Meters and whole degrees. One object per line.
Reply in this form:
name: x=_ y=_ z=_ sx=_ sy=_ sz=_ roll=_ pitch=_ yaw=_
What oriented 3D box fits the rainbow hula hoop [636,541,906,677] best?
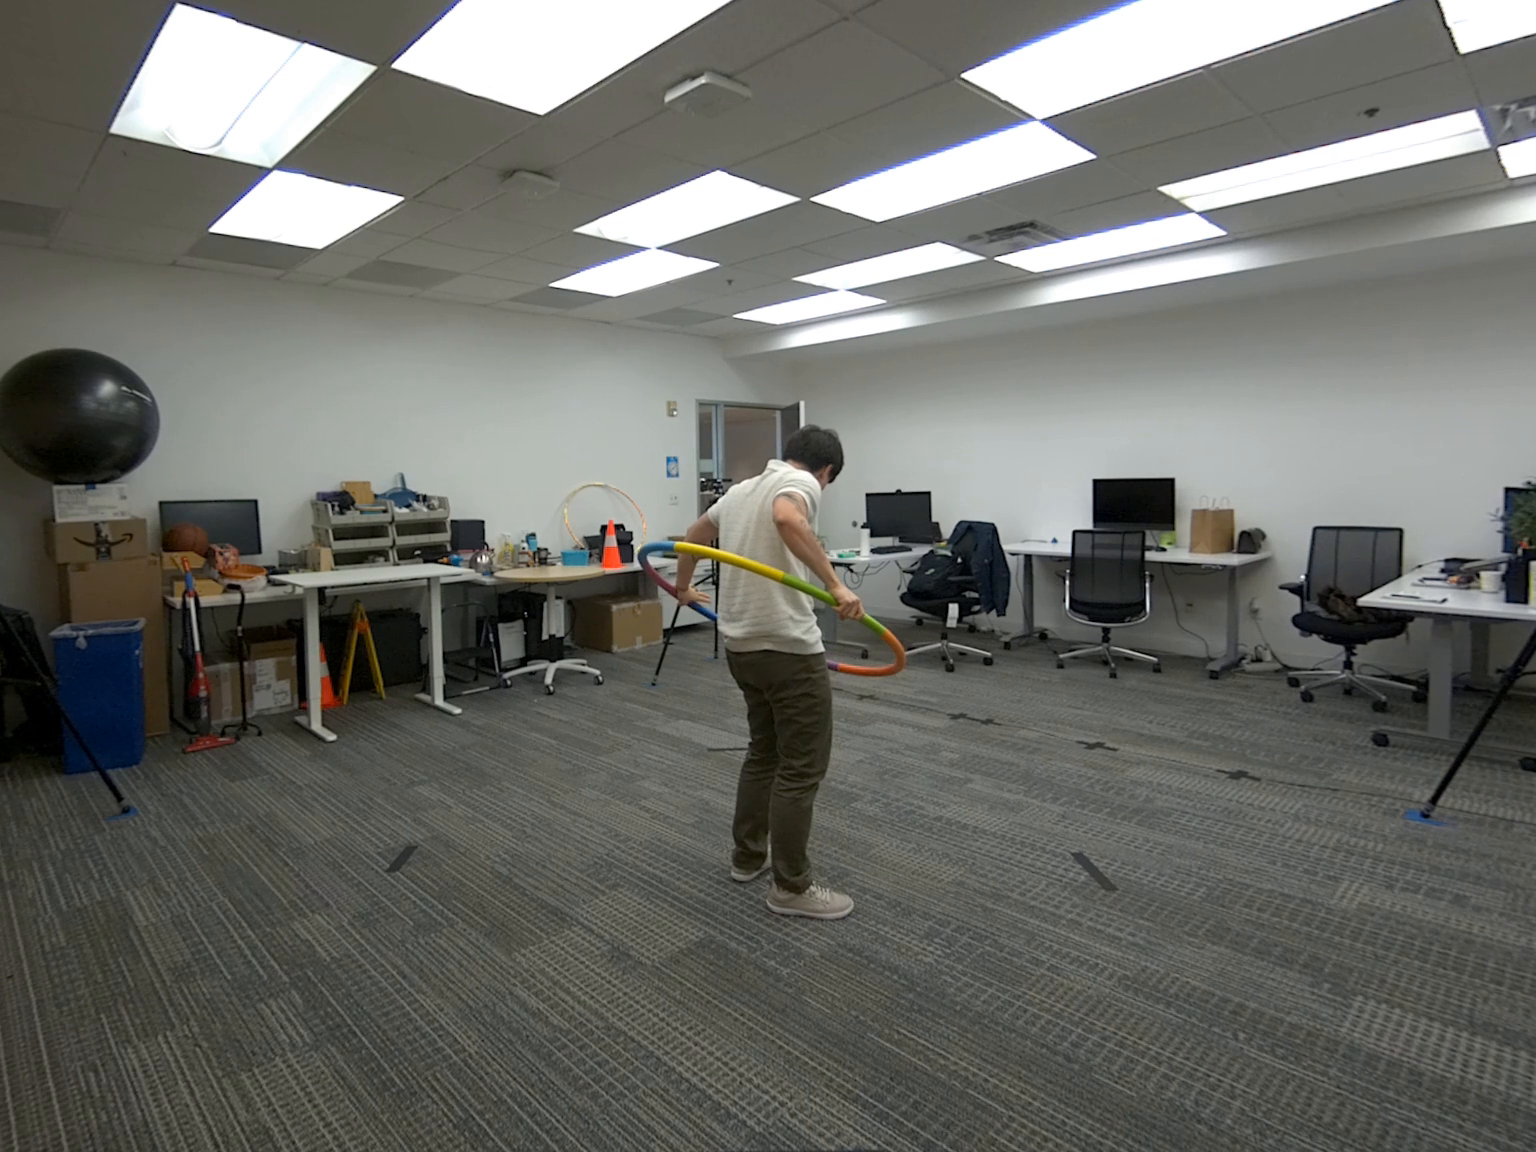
rainbow hula hoop: x=0.005 y=0.122 z=2.947 sx=0.987 sy=0.036 sz=0.964 roll=23 pitch=-16 yaw=6
